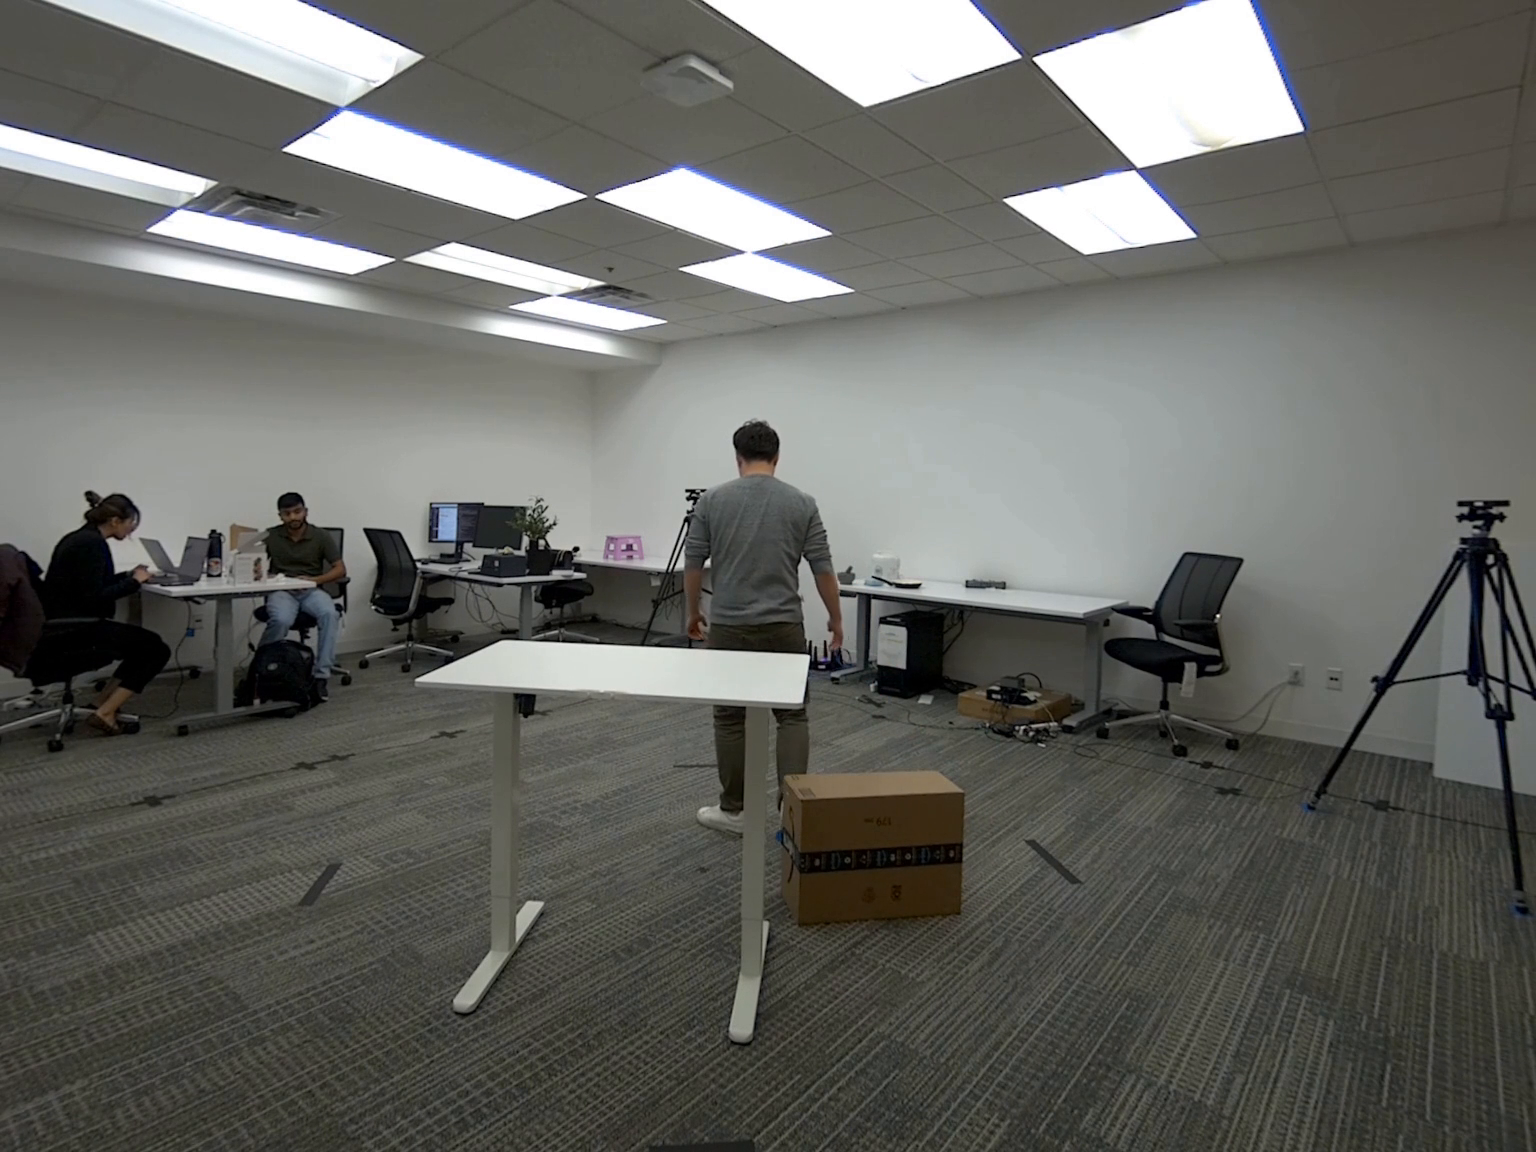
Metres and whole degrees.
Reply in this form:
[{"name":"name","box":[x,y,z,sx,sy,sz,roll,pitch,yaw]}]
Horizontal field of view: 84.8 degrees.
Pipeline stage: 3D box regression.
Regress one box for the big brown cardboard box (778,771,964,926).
[{"name":"big brown cardboard box","box":[0.337,0.900,2.870,0.582,0.416,0.237,1,4,-10]}]
